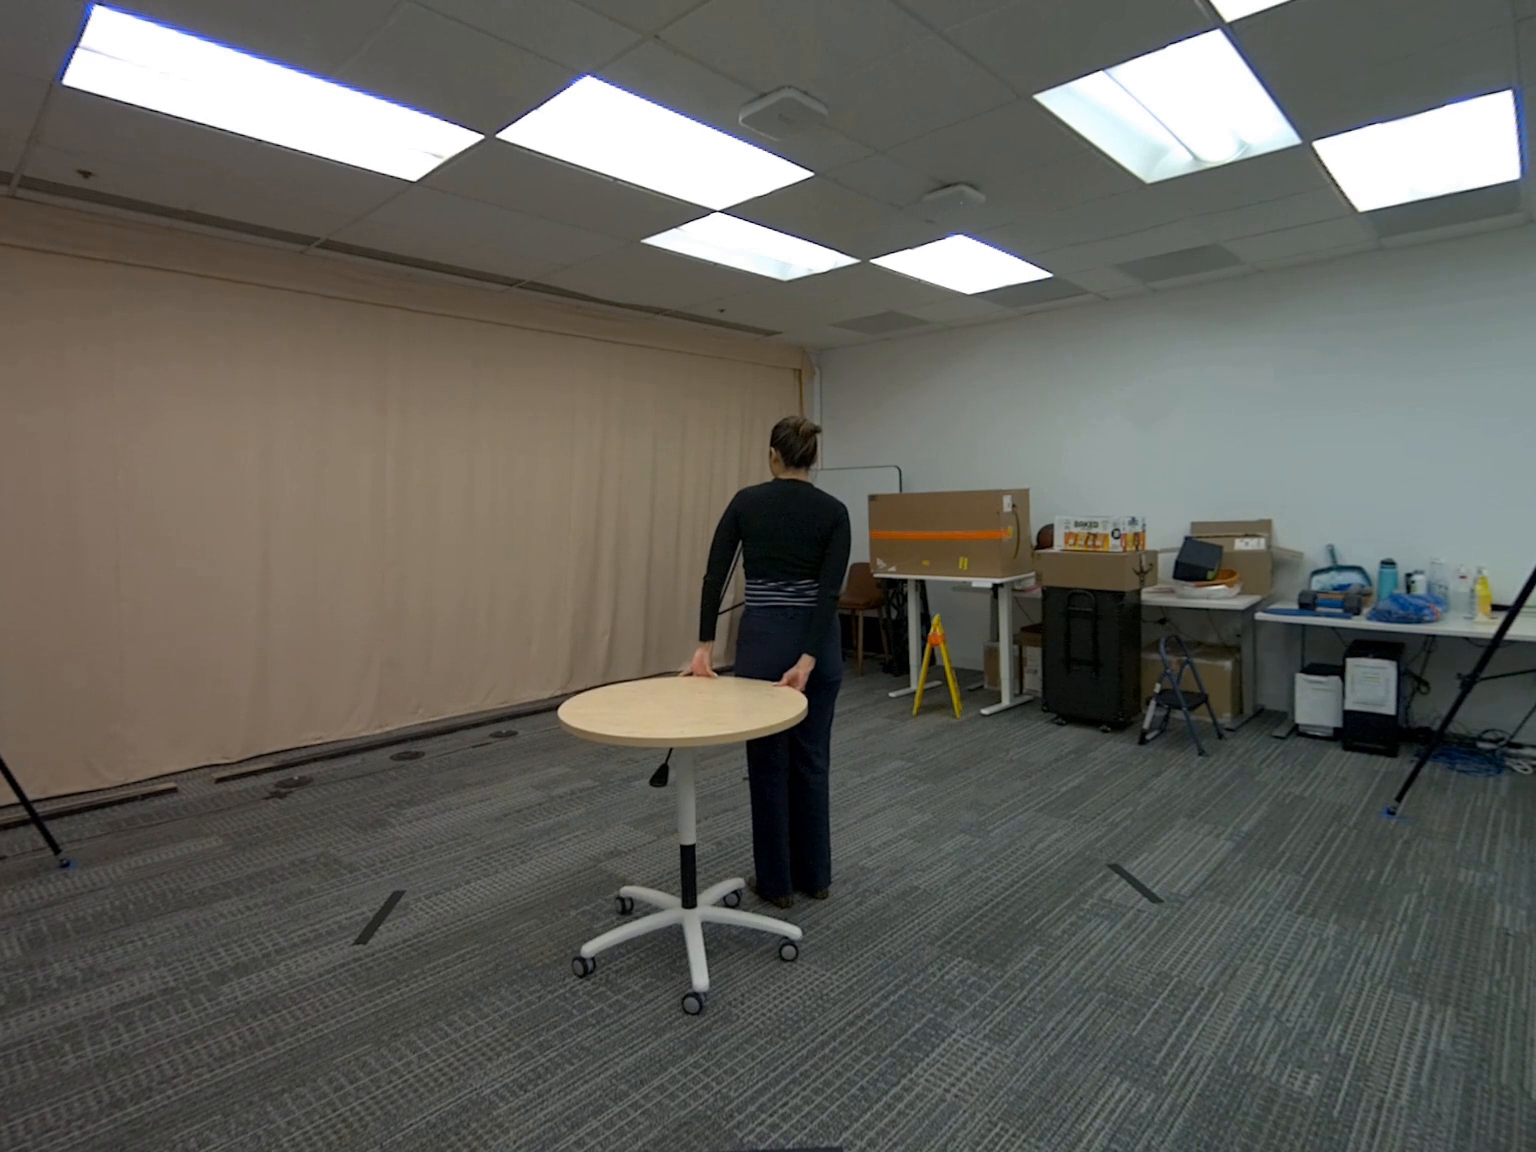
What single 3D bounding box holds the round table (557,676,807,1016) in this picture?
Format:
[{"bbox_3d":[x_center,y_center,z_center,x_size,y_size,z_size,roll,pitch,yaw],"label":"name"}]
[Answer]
[{"bbox_3d":[-0.248,0.786,2.620,0.763,0.792,0.767,-2,4,-2],"label":"round table"}]
